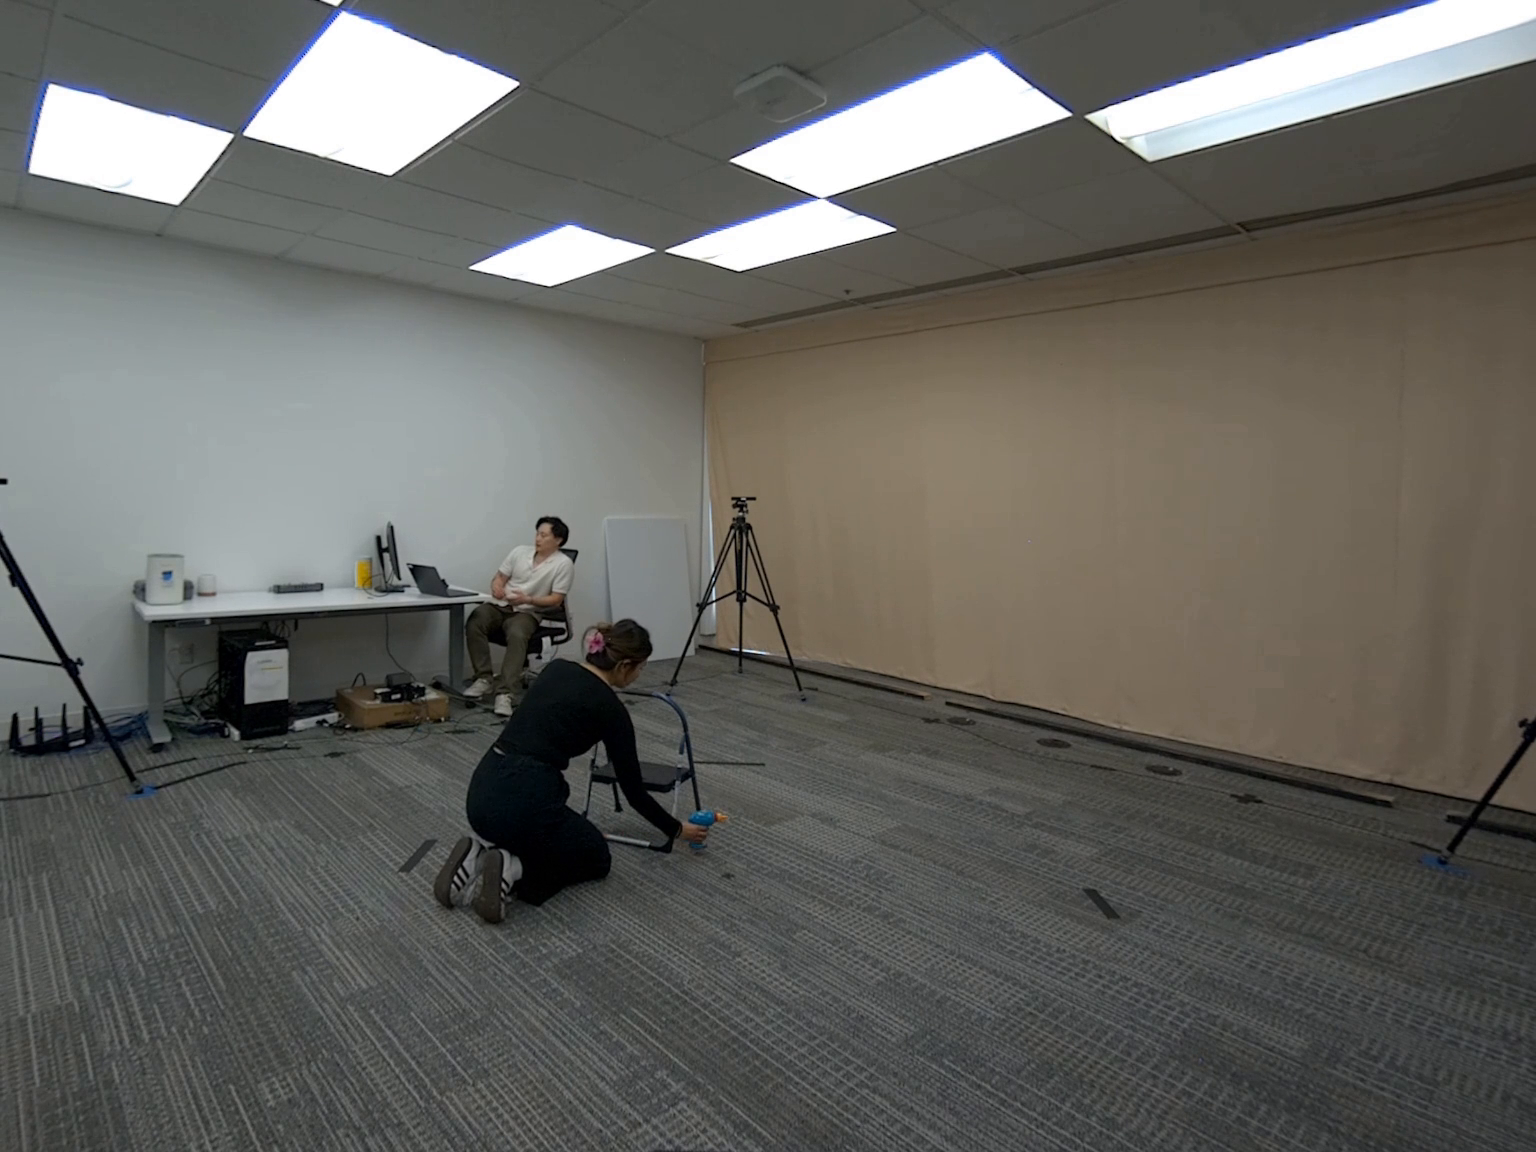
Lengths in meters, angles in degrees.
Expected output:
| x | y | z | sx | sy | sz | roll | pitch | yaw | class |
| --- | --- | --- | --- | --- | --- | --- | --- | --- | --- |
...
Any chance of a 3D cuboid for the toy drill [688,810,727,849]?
| x | y | z | sx | sy | sz | roll | pitch | yaw | class |
| --- | --- | --- | --- | --- | --- | --- | --- | --- | --- |
| -0.248 | 0.985 | 3.290 | 0.167 | 0.145 | 0.062 | 0 | 11 | -20 | toy drill |
